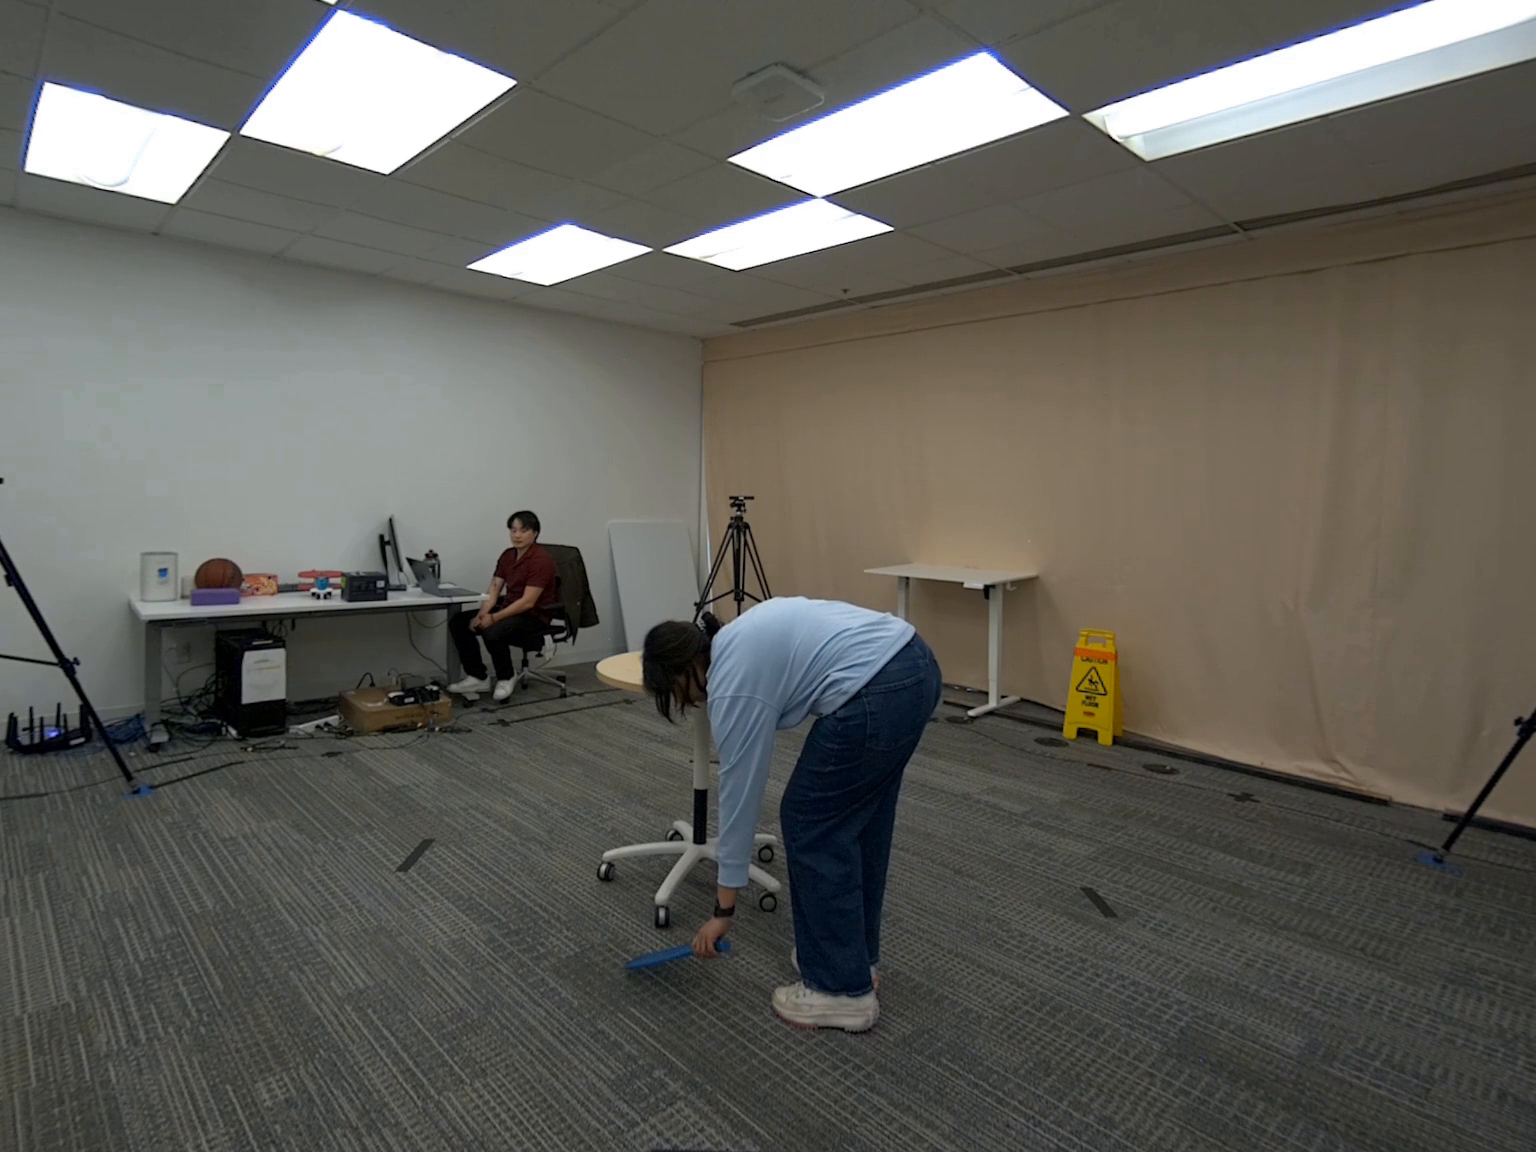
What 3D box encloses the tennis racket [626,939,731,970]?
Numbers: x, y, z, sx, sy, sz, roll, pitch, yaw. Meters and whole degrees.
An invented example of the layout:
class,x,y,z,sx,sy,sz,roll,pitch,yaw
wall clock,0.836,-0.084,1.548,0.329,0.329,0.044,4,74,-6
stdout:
class,x,y,z,sx,sy,sz,roll,pitch,yaw
tennis racket,-0.251,1.069,2.376,0.209,0.032,0.437,-3,-17,-42
